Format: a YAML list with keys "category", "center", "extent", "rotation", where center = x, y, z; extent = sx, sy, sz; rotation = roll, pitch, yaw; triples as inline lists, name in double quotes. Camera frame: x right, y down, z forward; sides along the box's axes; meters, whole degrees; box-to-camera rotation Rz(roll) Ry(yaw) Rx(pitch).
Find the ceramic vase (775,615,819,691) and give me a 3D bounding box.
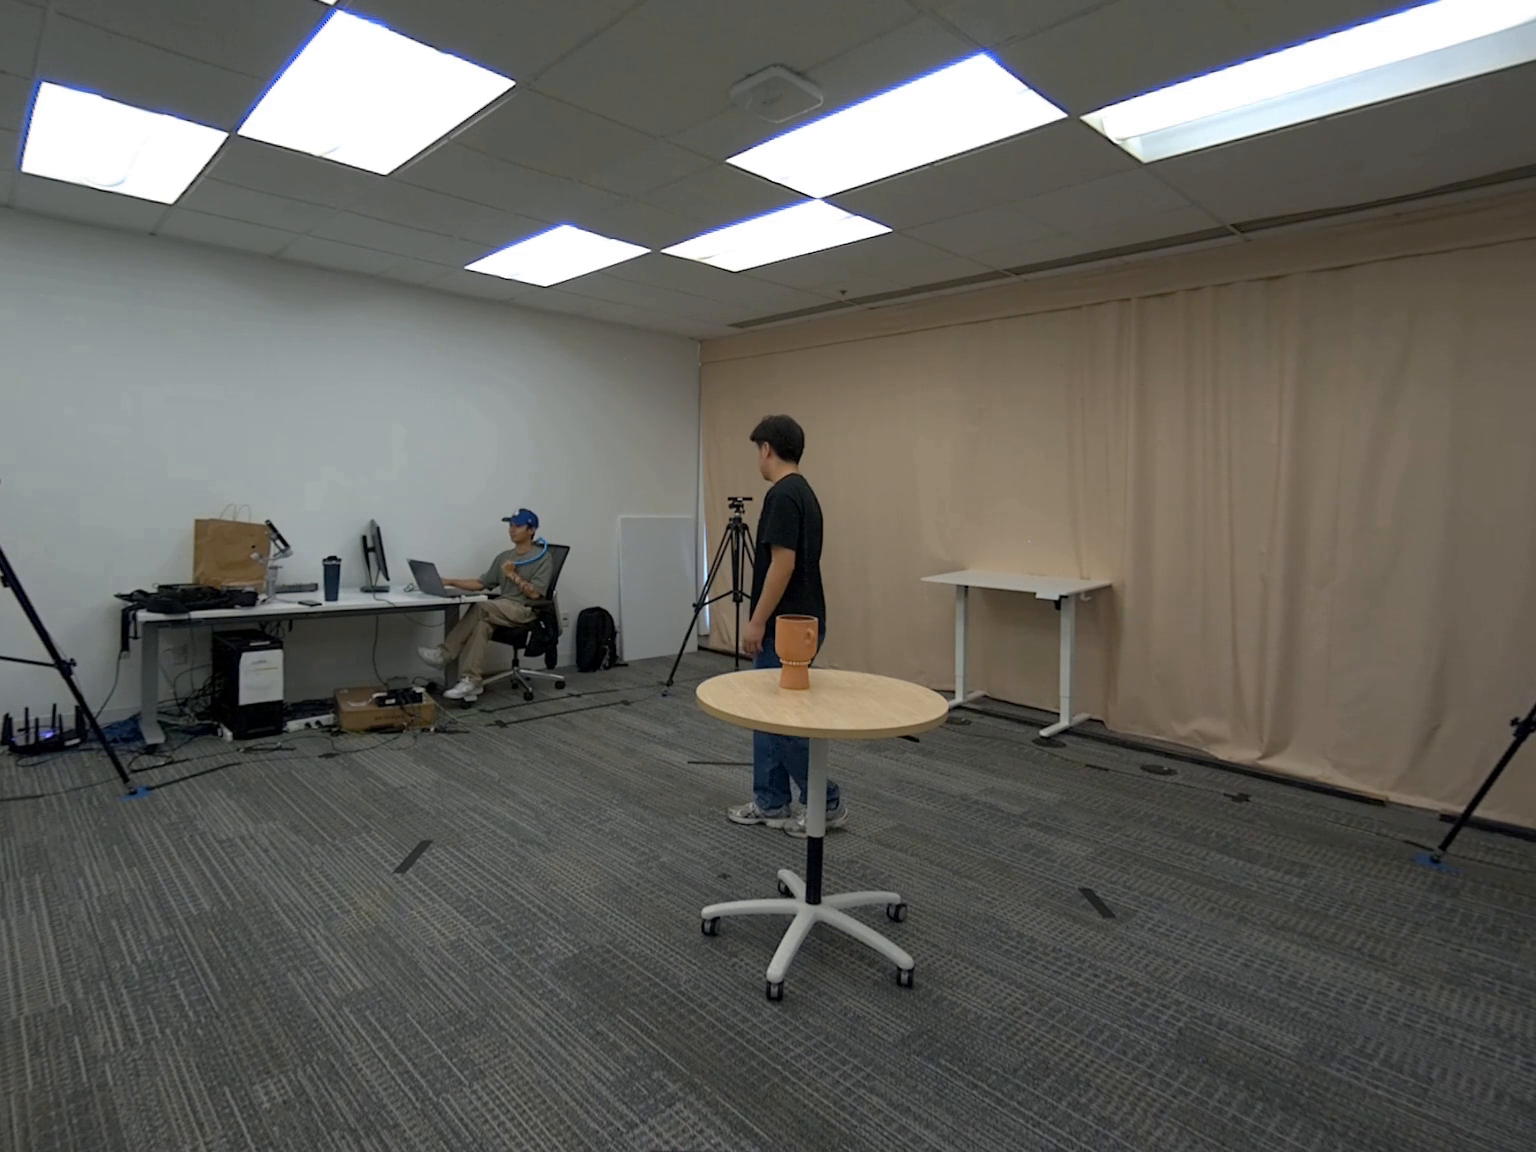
- category: "ceramic vase"
  center: [0.083, 0.248, 2.674]
  extent: [0.136, 0.219, 0.158]
  rotation: [4, 4, 10]
